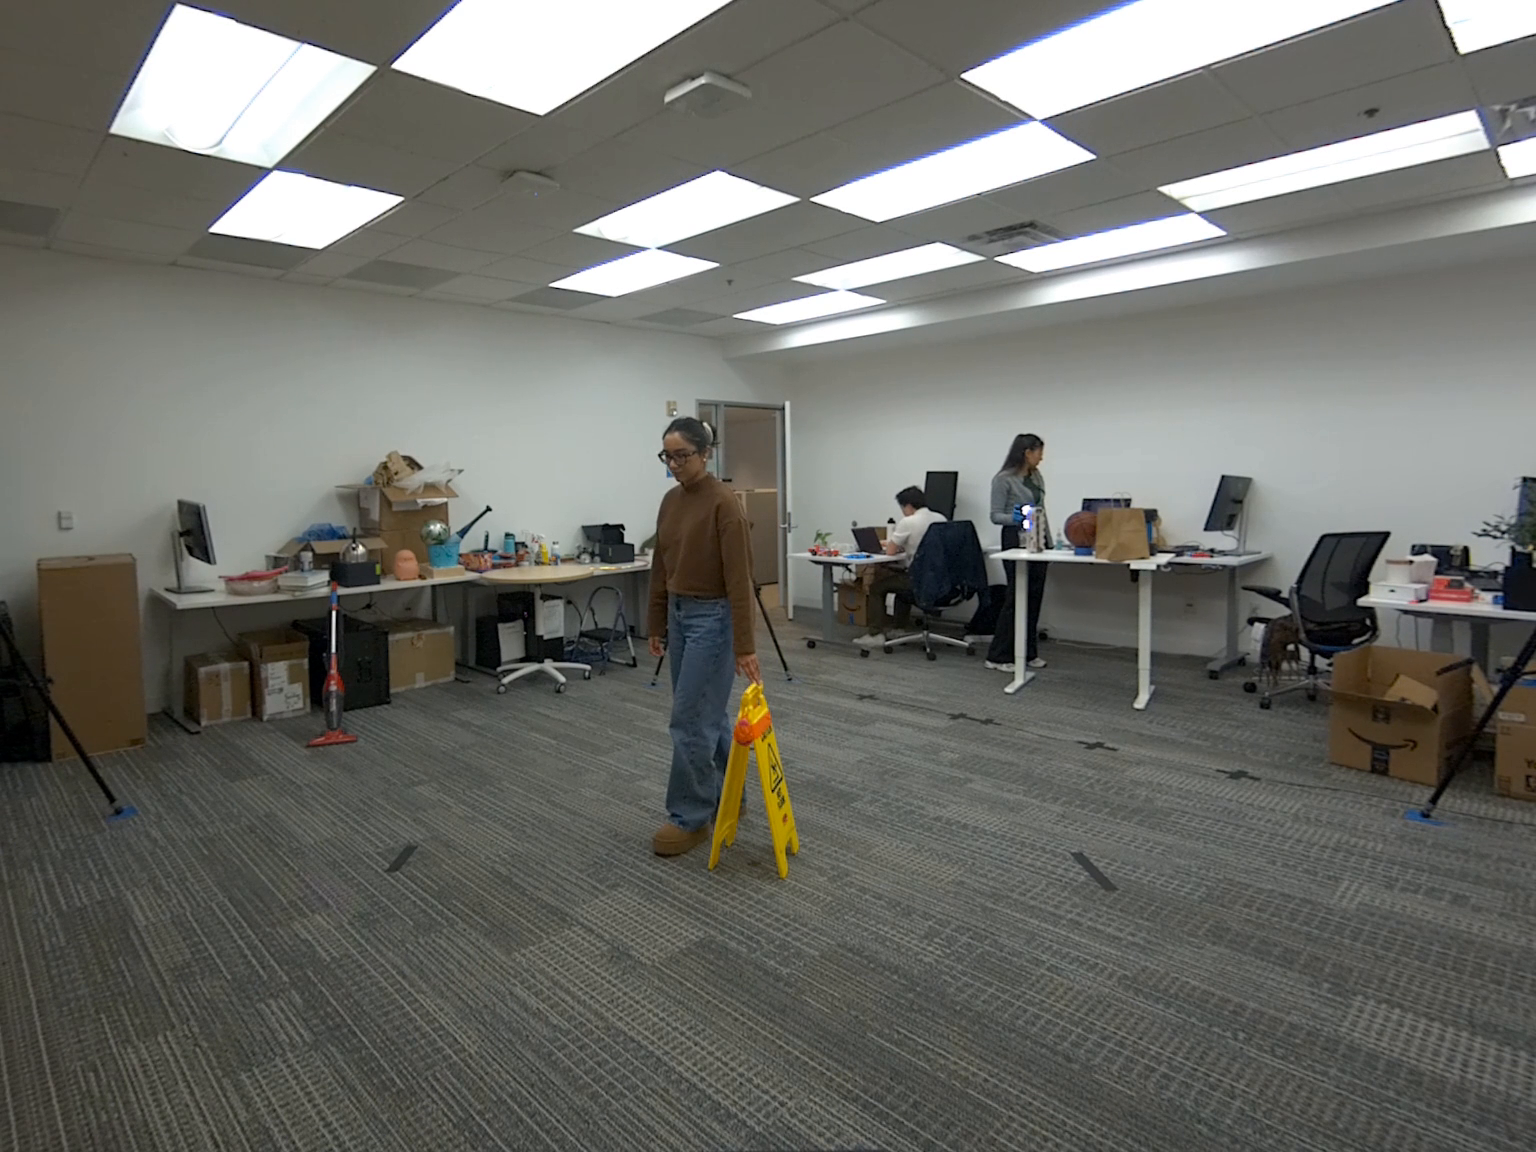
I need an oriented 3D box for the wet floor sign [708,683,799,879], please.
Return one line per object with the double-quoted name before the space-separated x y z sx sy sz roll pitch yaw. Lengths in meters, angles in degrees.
"wet floor sign" -0.053 0.719 3.125 0.294 0.644 0.279 0 3 15
